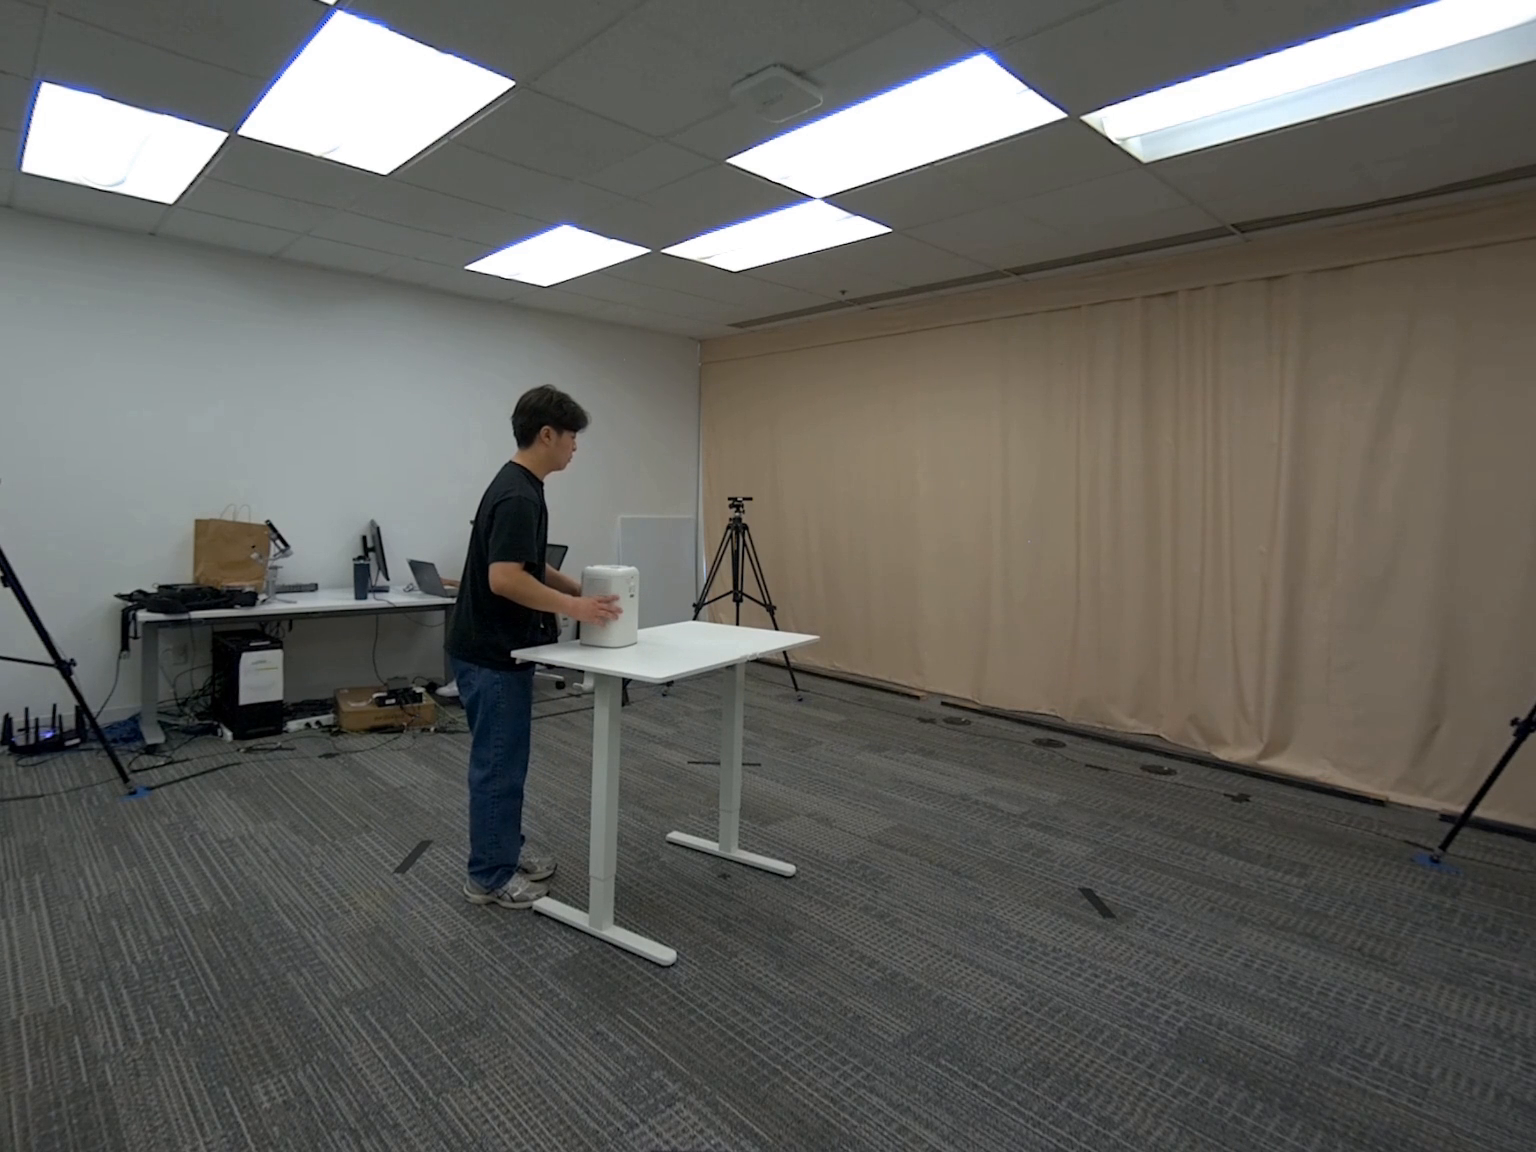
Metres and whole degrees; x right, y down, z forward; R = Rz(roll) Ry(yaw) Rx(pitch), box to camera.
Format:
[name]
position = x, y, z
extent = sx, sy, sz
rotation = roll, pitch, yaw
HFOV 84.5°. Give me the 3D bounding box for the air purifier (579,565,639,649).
[air purifier]
position = -0.551, 0.100, 2.865
extent = 0.174, 0.265, 0.169
rotation = 4, 4, 19
